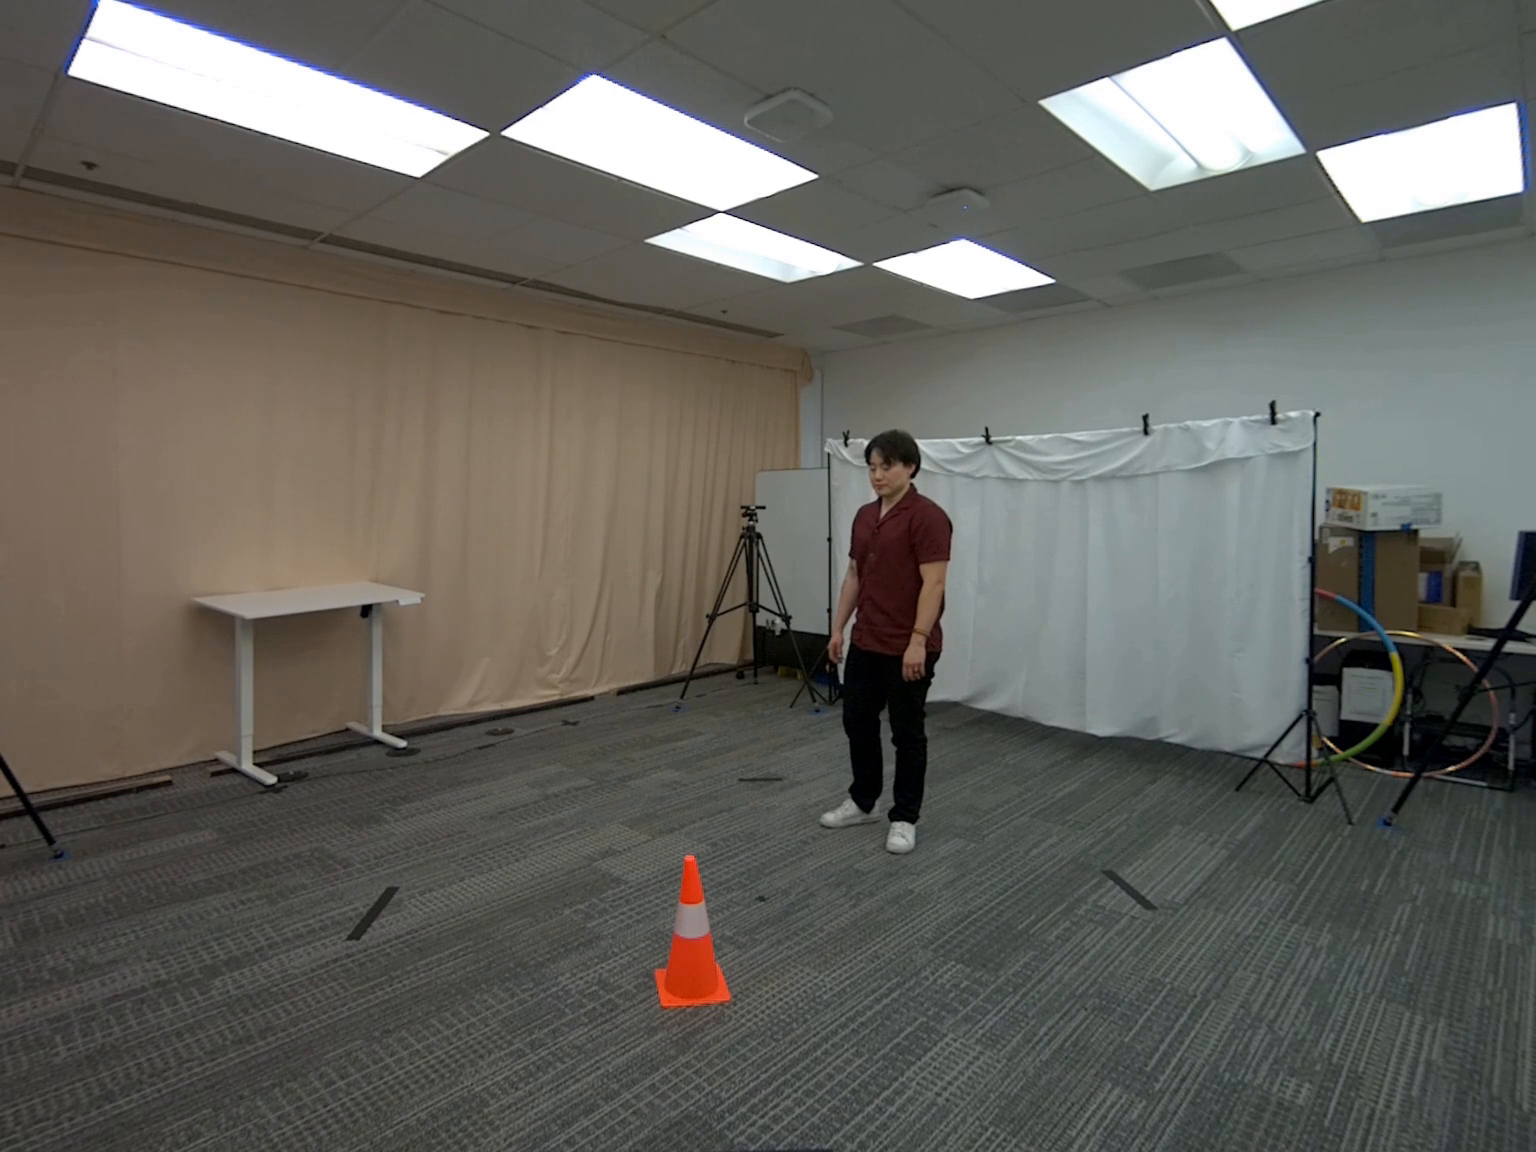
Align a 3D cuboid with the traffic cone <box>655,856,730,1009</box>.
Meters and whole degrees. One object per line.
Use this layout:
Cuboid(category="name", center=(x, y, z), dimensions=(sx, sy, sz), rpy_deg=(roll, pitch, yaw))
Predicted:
Cuboid(category="traffic cone", center=(-0.217, 1.007, 2.425), dimensions=(0.201, 0.382, 0.208), rpy_deg=(-1, 4, -12))
